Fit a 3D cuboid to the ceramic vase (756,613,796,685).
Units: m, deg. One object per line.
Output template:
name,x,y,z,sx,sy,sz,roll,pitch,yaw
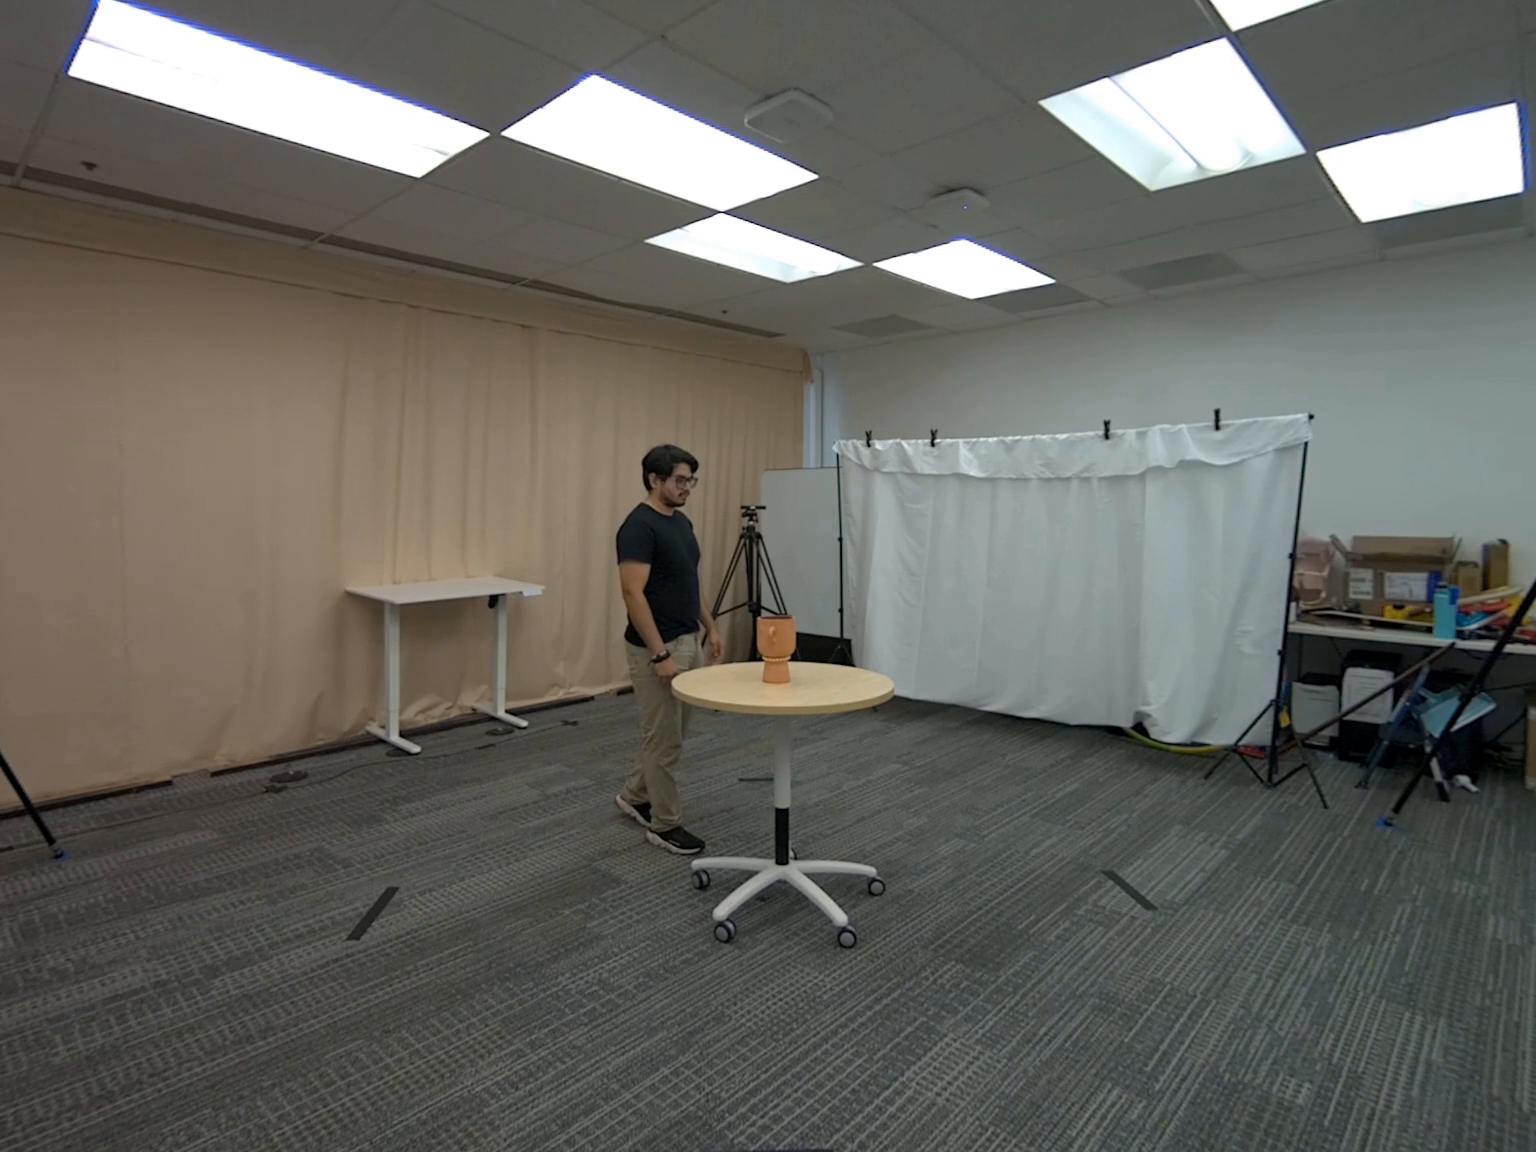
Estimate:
ceramic vase,0.033,0.256,2.922,0.154,0.219,0.139,-3,4,-36
